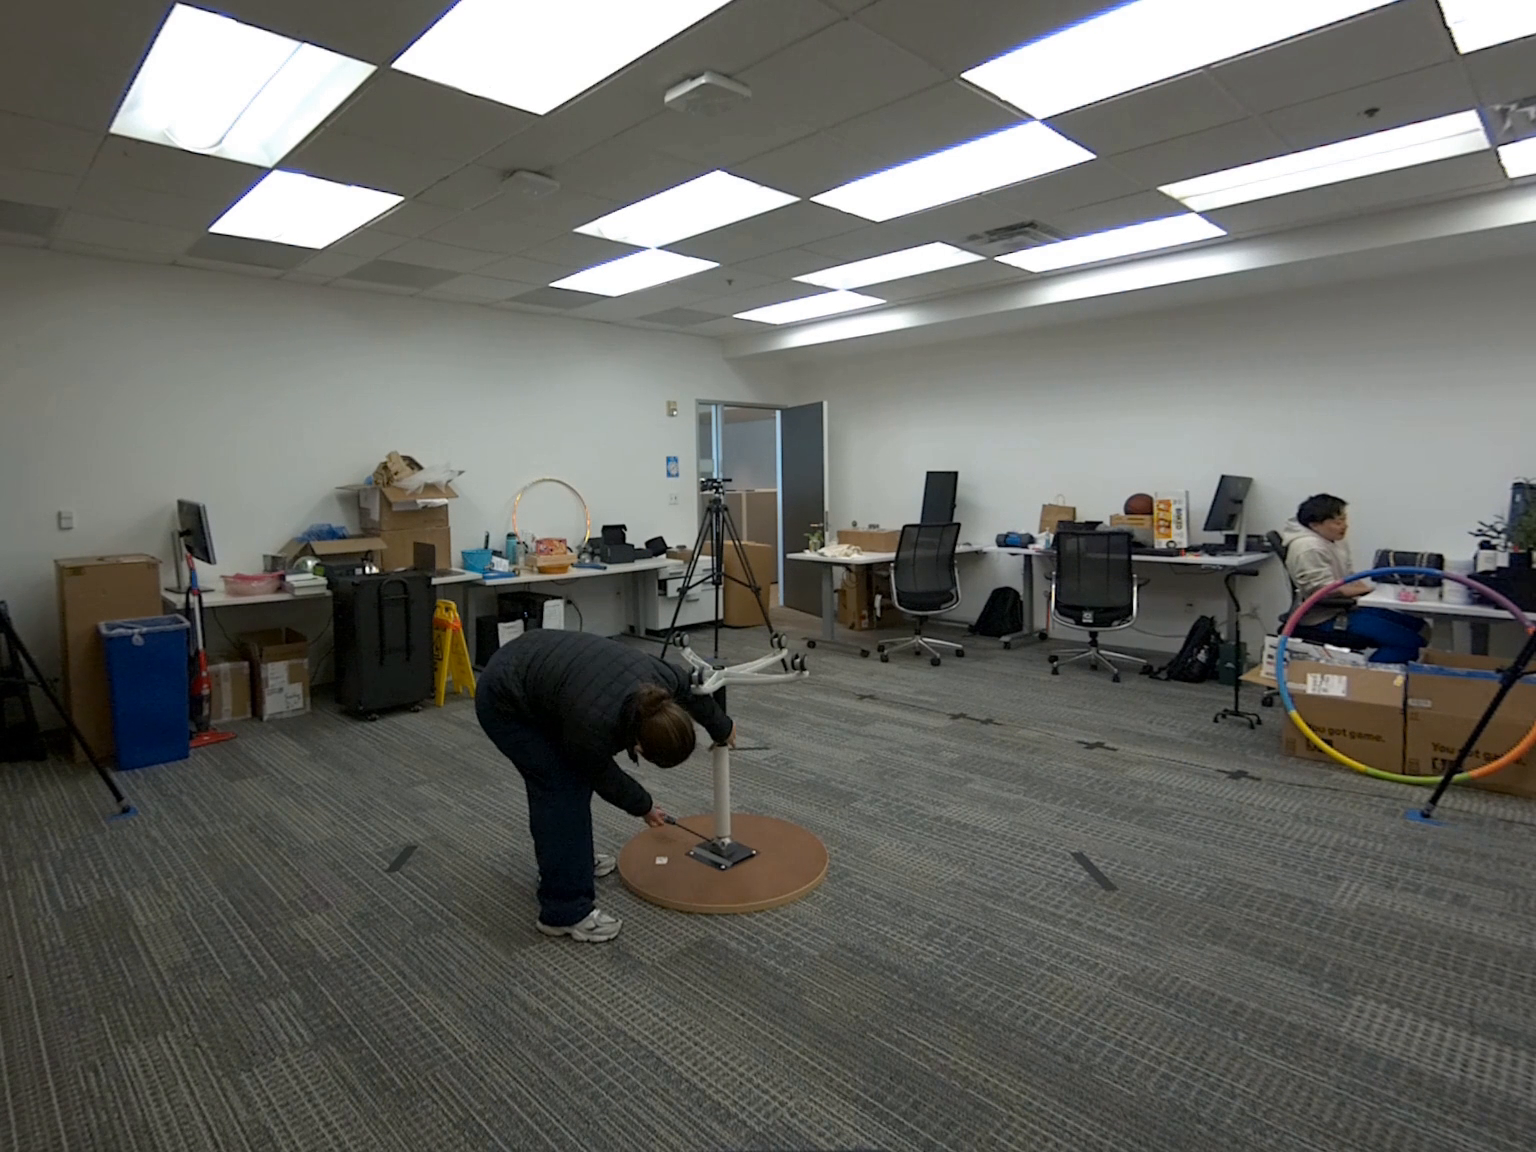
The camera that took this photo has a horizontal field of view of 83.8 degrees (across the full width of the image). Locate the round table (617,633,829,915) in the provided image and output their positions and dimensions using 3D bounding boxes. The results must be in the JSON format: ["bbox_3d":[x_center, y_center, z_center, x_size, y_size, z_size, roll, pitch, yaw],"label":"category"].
[{"bbox_3d":[-0.171,0.642,3.124,0.784,0.783,0.790,0,6,-2],"label":"round table"}]
